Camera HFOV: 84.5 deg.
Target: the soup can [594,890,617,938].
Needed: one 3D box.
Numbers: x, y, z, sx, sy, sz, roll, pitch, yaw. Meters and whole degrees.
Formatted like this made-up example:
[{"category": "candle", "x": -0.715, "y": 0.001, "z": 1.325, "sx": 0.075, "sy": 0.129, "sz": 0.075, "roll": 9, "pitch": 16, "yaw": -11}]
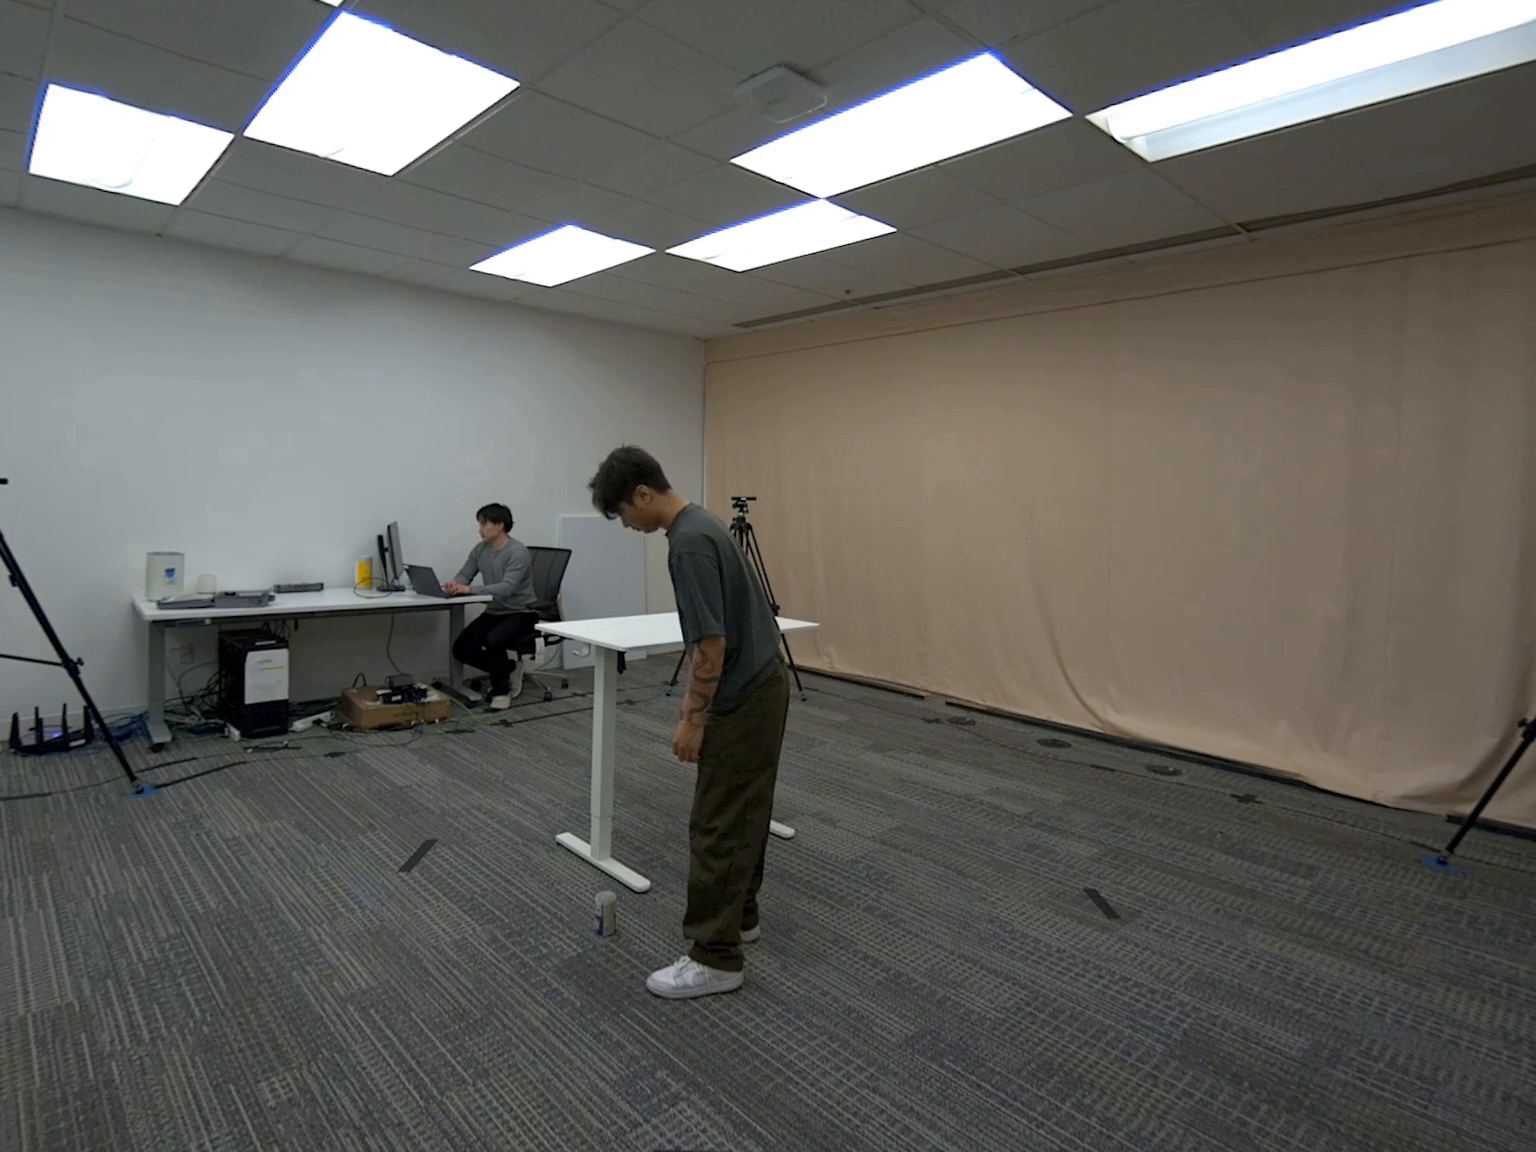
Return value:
[{"category": "soup can", "x": -0.518, "y": 1.070, "z": 2.680, "sx": 0.067, "sy": 0.121, "sz": 0.067, "roll": -1, "pitch": 2, "yaw": -1}]
